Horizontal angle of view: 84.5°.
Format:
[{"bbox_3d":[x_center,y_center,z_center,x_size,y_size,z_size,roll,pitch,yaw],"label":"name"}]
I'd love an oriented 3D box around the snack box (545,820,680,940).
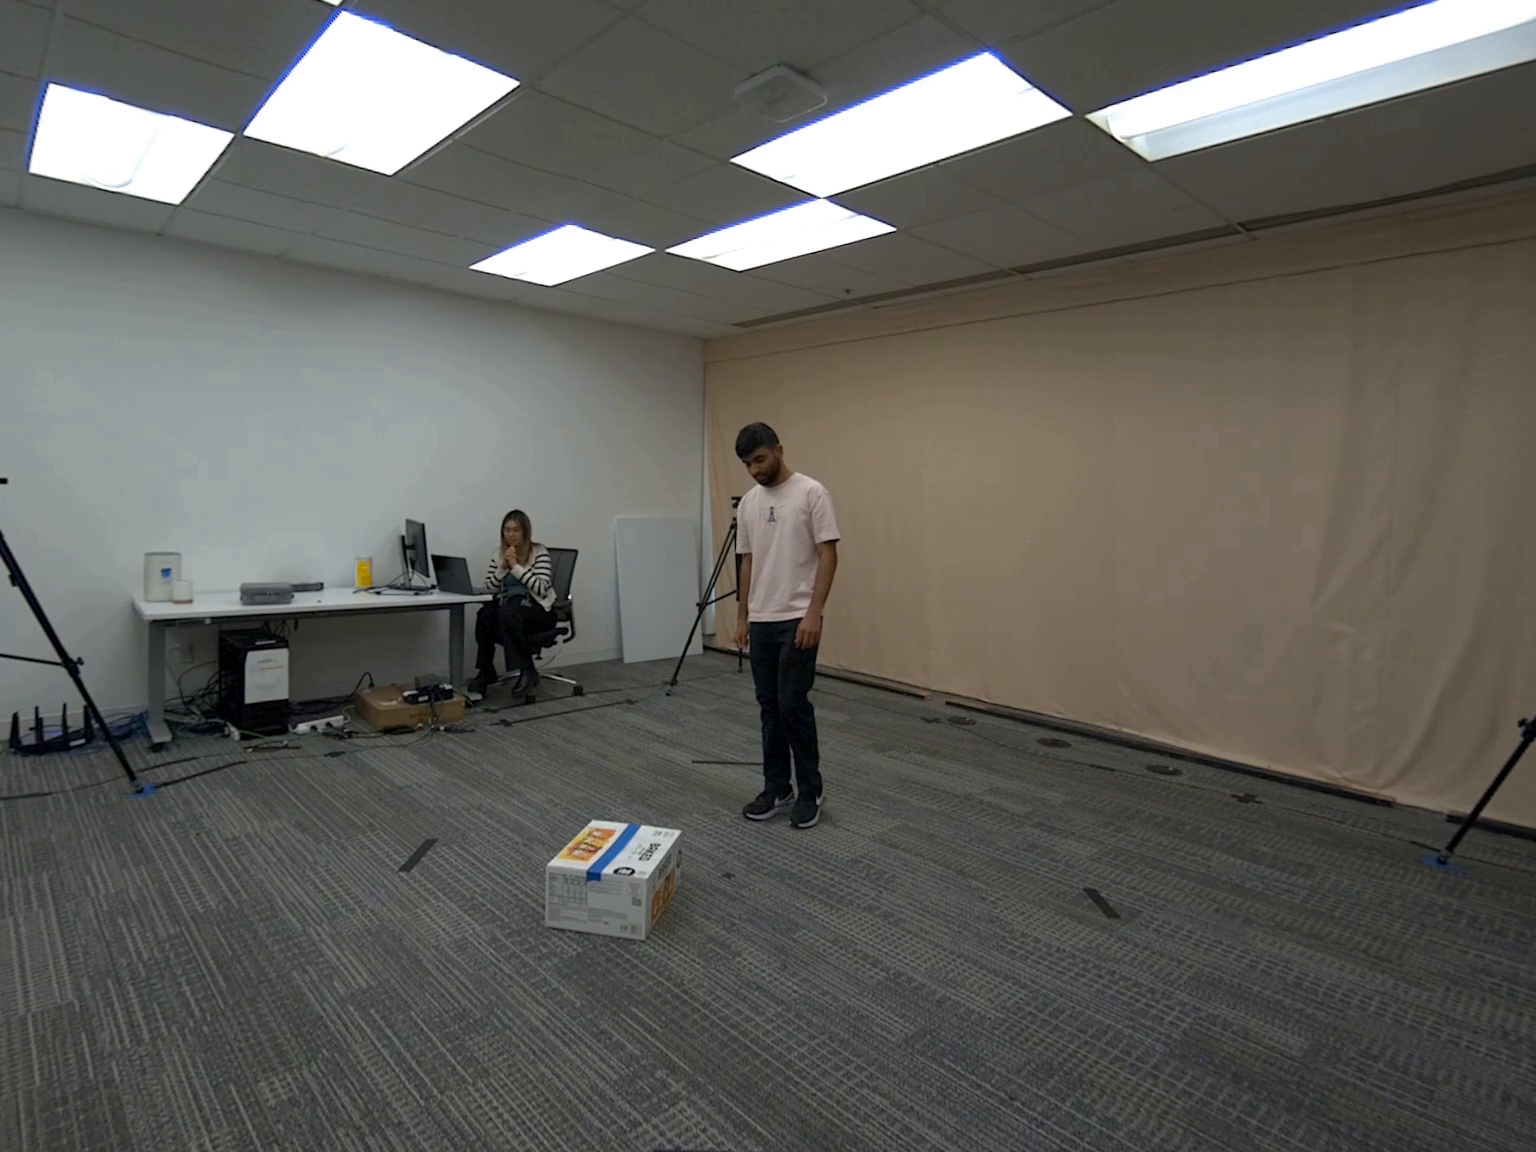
[{"bbox_3d":[-0.522,1.022,2.848,0.343,0.205,0.402,2,5,11],"label":"snack box"}]
